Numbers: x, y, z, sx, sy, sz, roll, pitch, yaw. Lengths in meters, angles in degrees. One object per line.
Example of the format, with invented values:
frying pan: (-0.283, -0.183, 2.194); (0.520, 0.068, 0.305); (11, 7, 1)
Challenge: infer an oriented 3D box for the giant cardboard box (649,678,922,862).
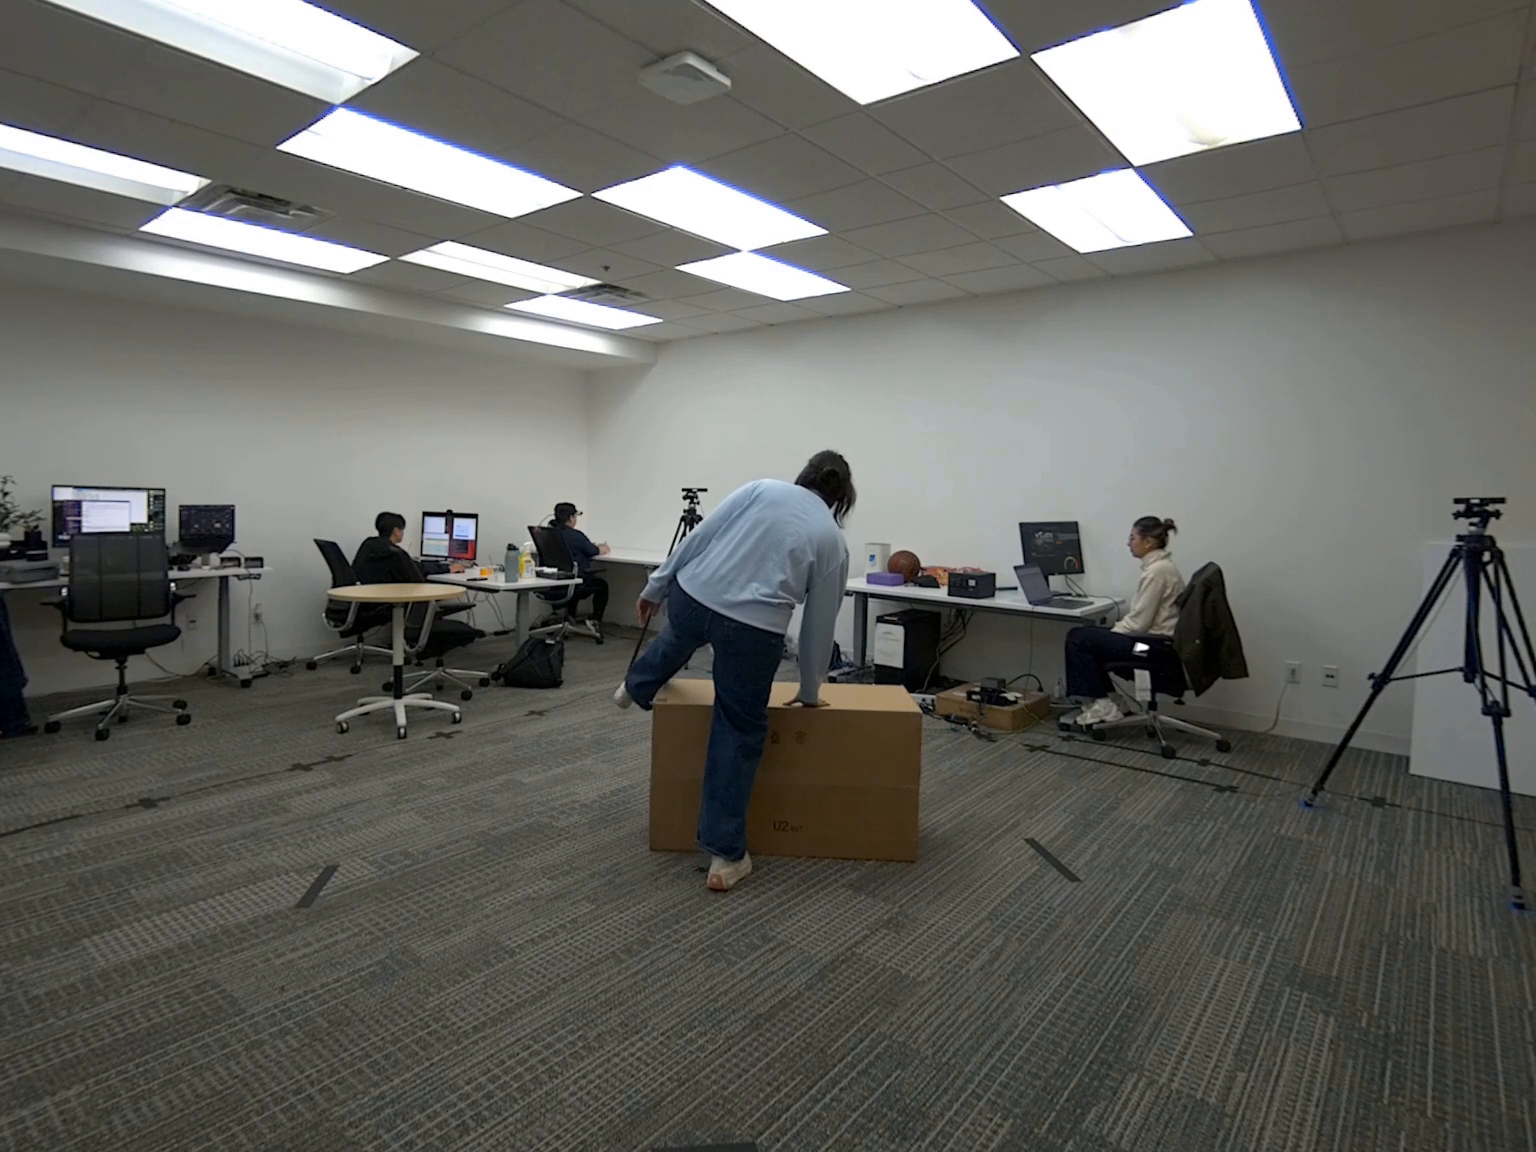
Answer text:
giant cardboard box: (0.055, 0.753, 3.432); (1.029, 0.576, 0.426); (1, 4, 3)
